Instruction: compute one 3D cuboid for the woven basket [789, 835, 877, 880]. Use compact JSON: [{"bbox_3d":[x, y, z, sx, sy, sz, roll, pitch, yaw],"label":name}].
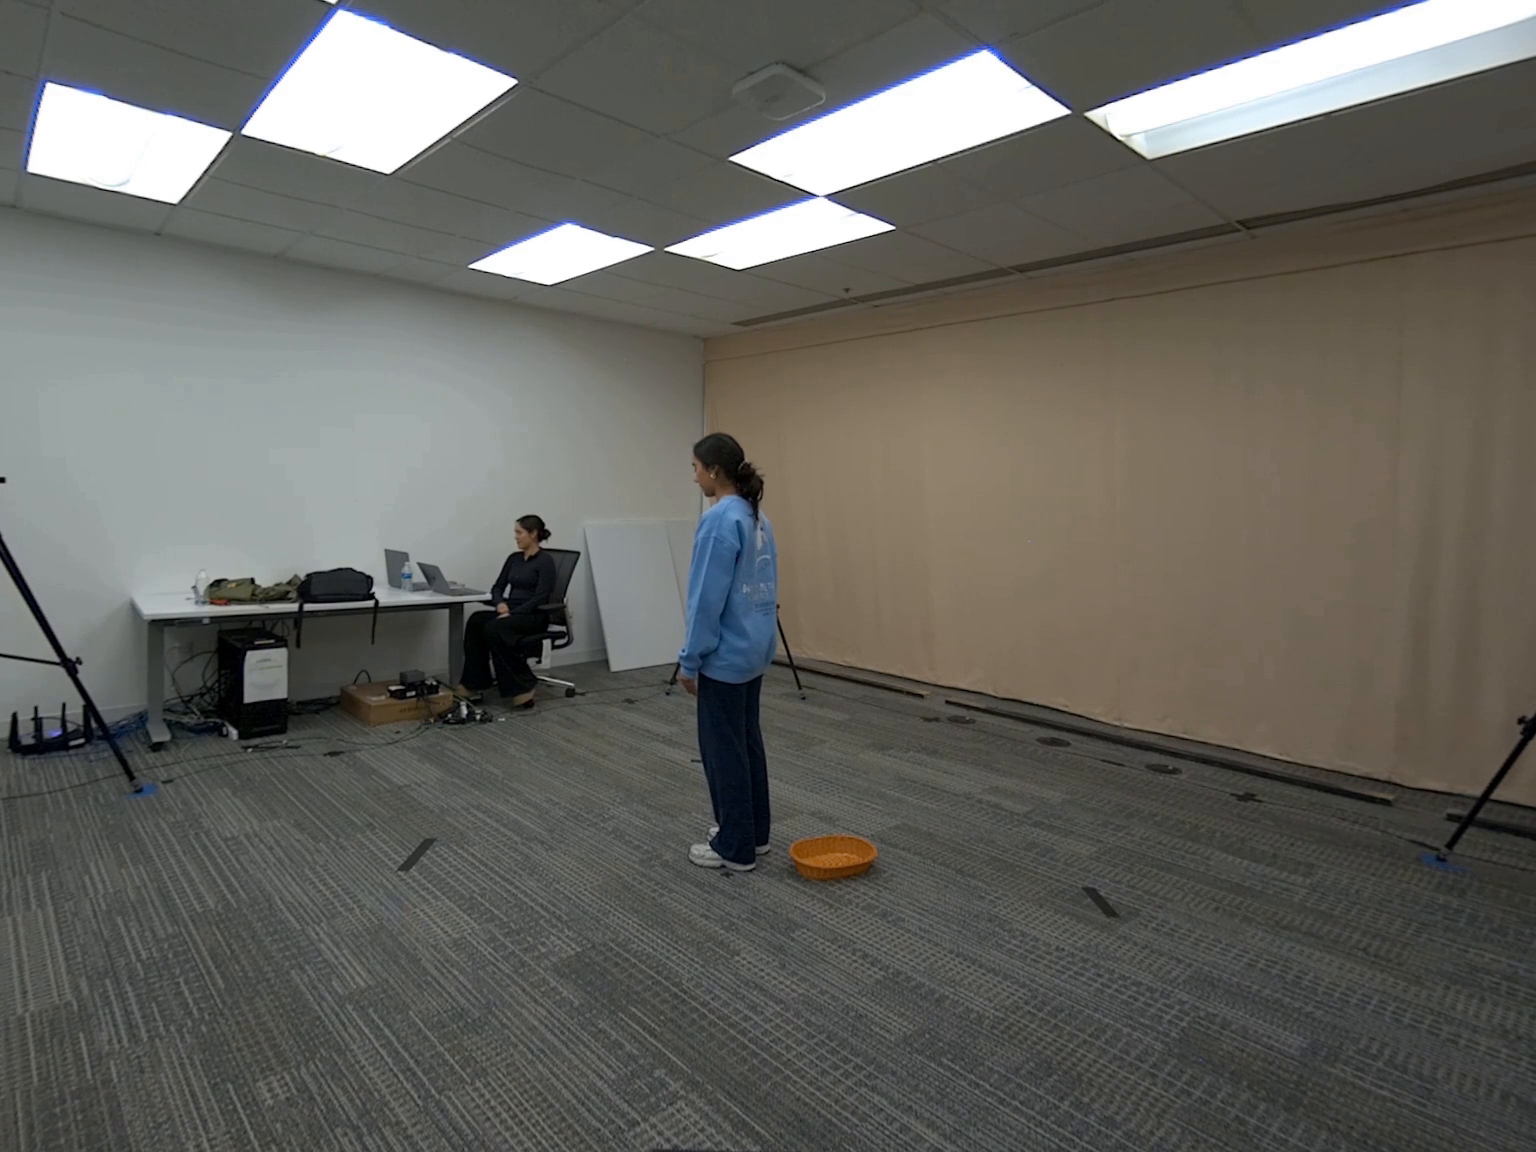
[{"bbox_3d":[0.234,1.066,3.178,0.344,0.073,0.258,0,6,-25],"label":"woven basket"}]
